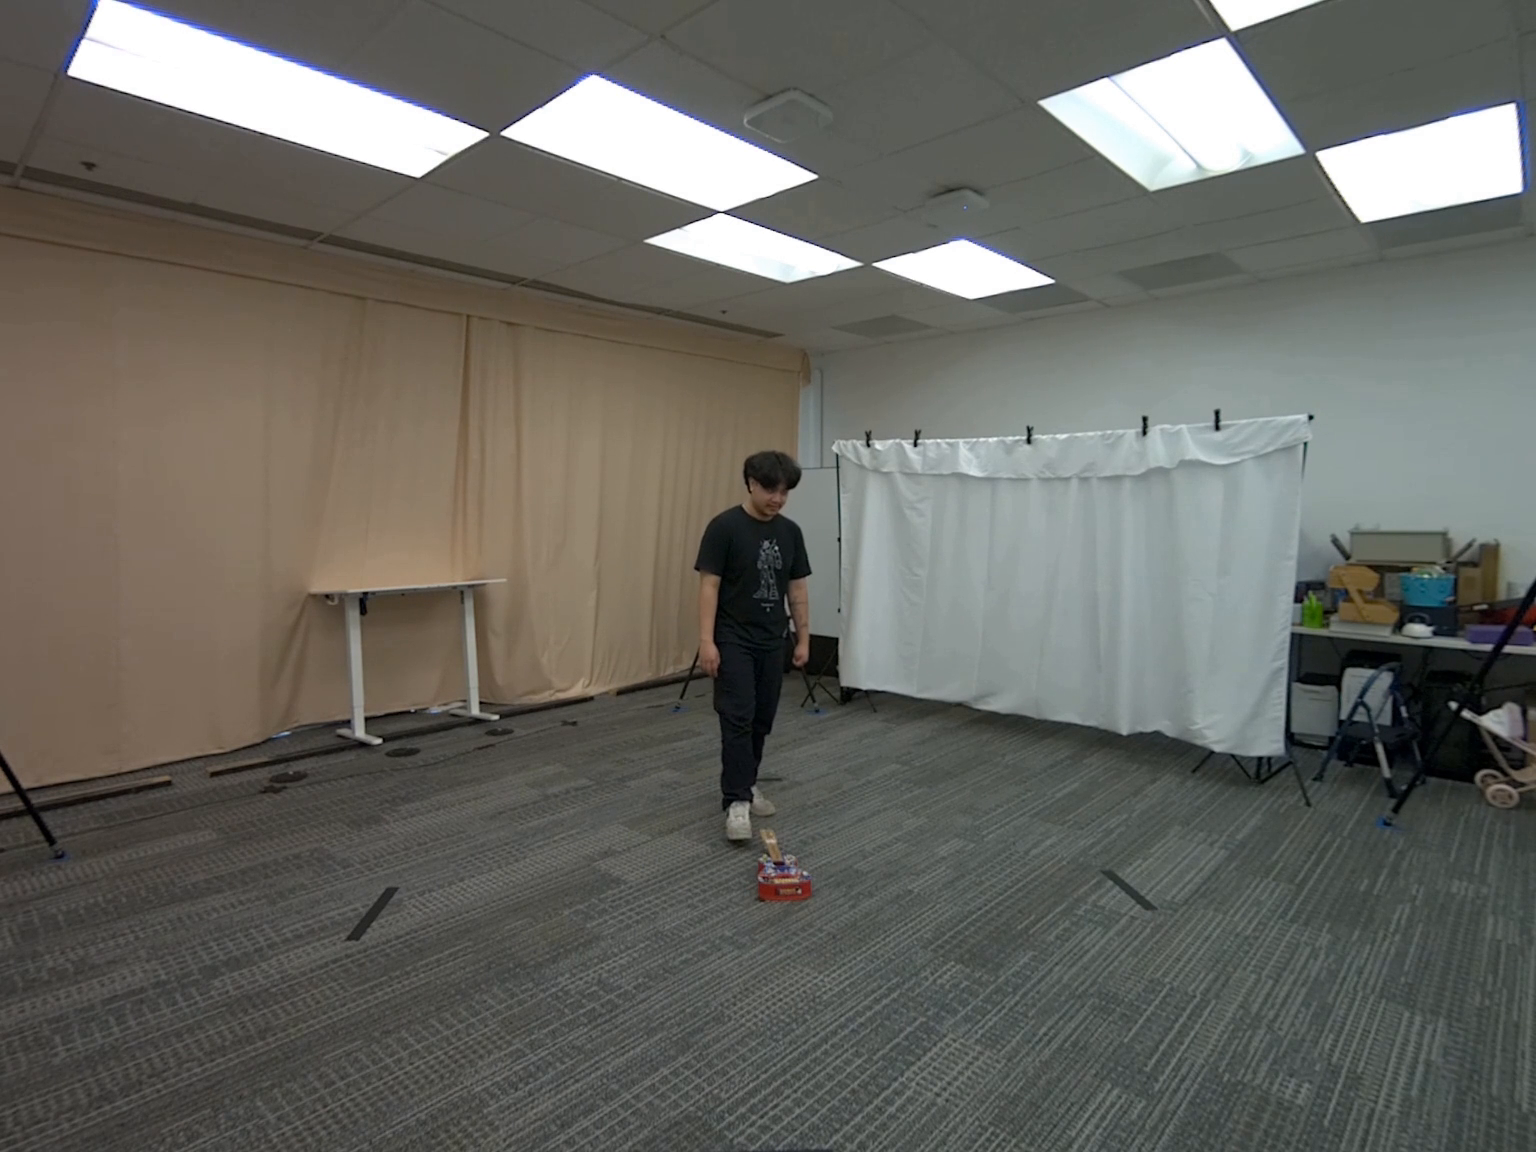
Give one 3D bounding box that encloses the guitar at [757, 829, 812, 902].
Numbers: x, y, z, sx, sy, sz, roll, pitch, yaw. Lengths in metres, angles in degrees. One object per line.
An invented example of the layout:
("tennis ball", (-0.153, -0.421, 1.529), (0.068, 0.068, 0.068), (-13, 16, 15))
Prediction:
("guitar", (0.060, 1.086, 3.210), (0.193, 0.070, 0.498), (-1, 6, 1))
